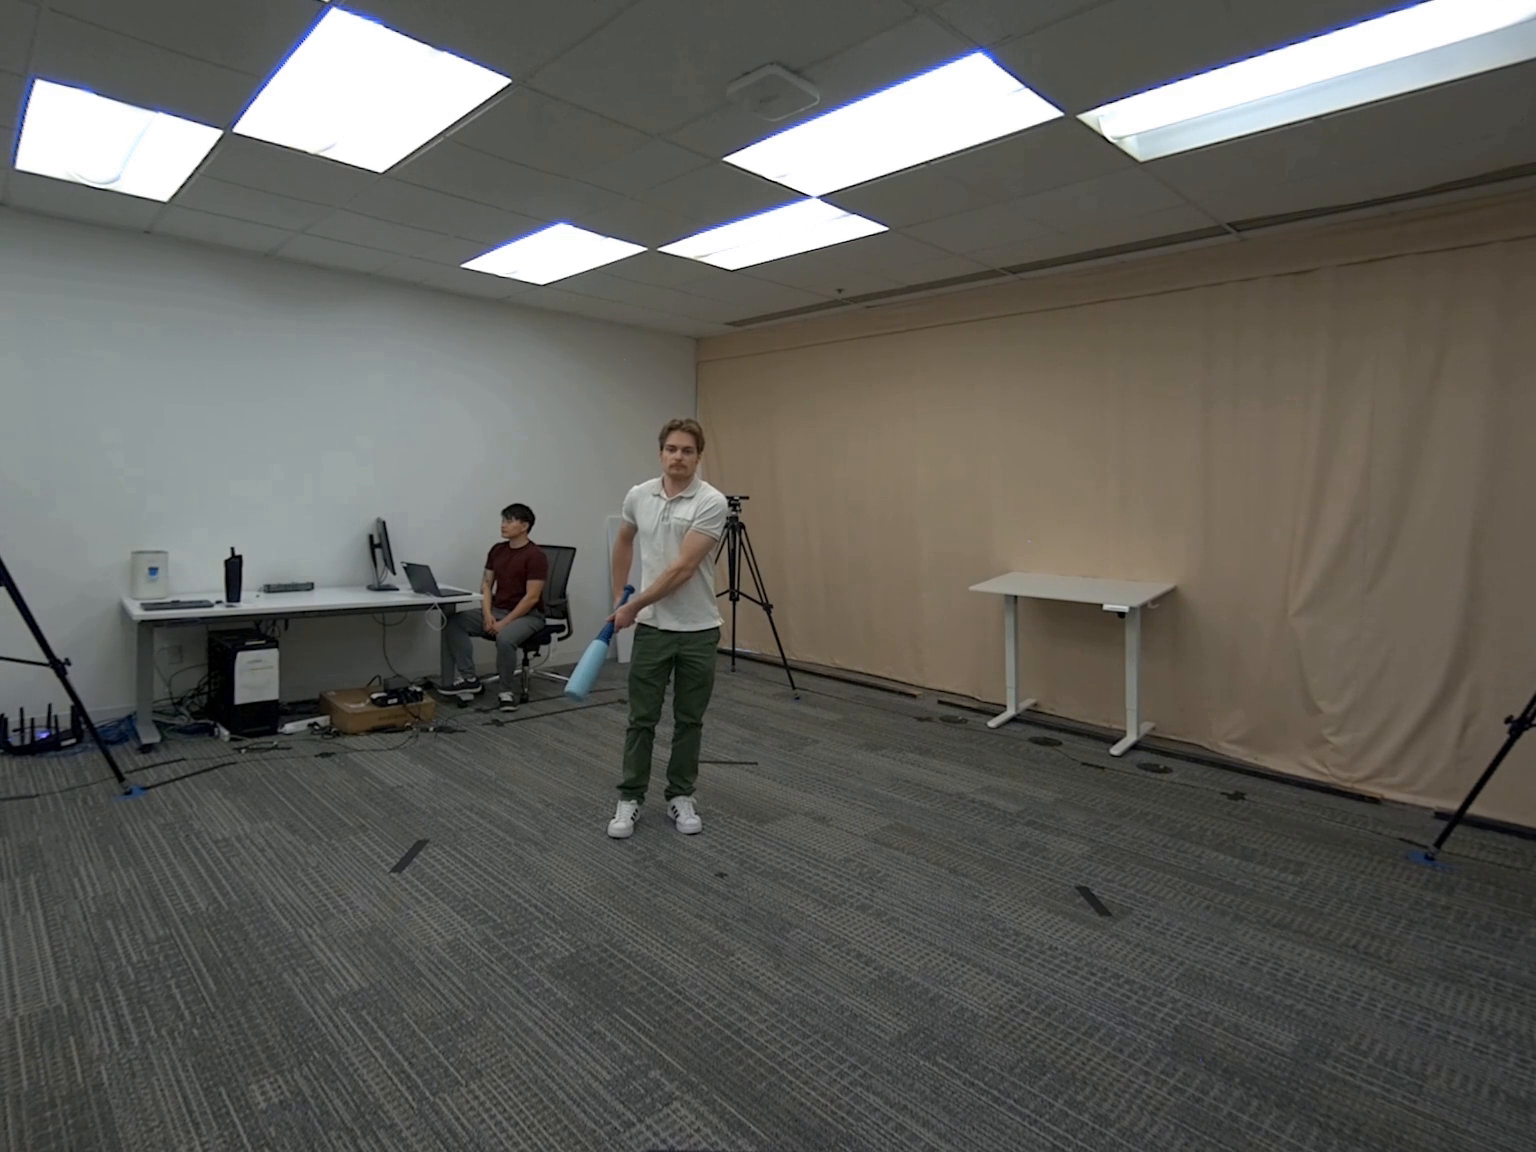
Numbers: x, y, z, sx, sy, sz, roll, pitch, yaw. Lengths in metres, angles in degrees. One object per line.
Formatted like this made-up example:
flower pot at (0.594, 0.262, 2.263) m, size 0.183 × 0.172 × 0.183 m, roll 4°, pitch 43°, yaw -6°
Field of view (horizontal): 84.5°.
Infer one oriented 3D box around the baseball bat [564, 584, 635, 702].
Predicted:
baseball bat at (-0.675, 0.266, 3.370) m, size 0.090 × 0.549 × 0.087 m, roll 15°, pitch -35°, yaw 10°
